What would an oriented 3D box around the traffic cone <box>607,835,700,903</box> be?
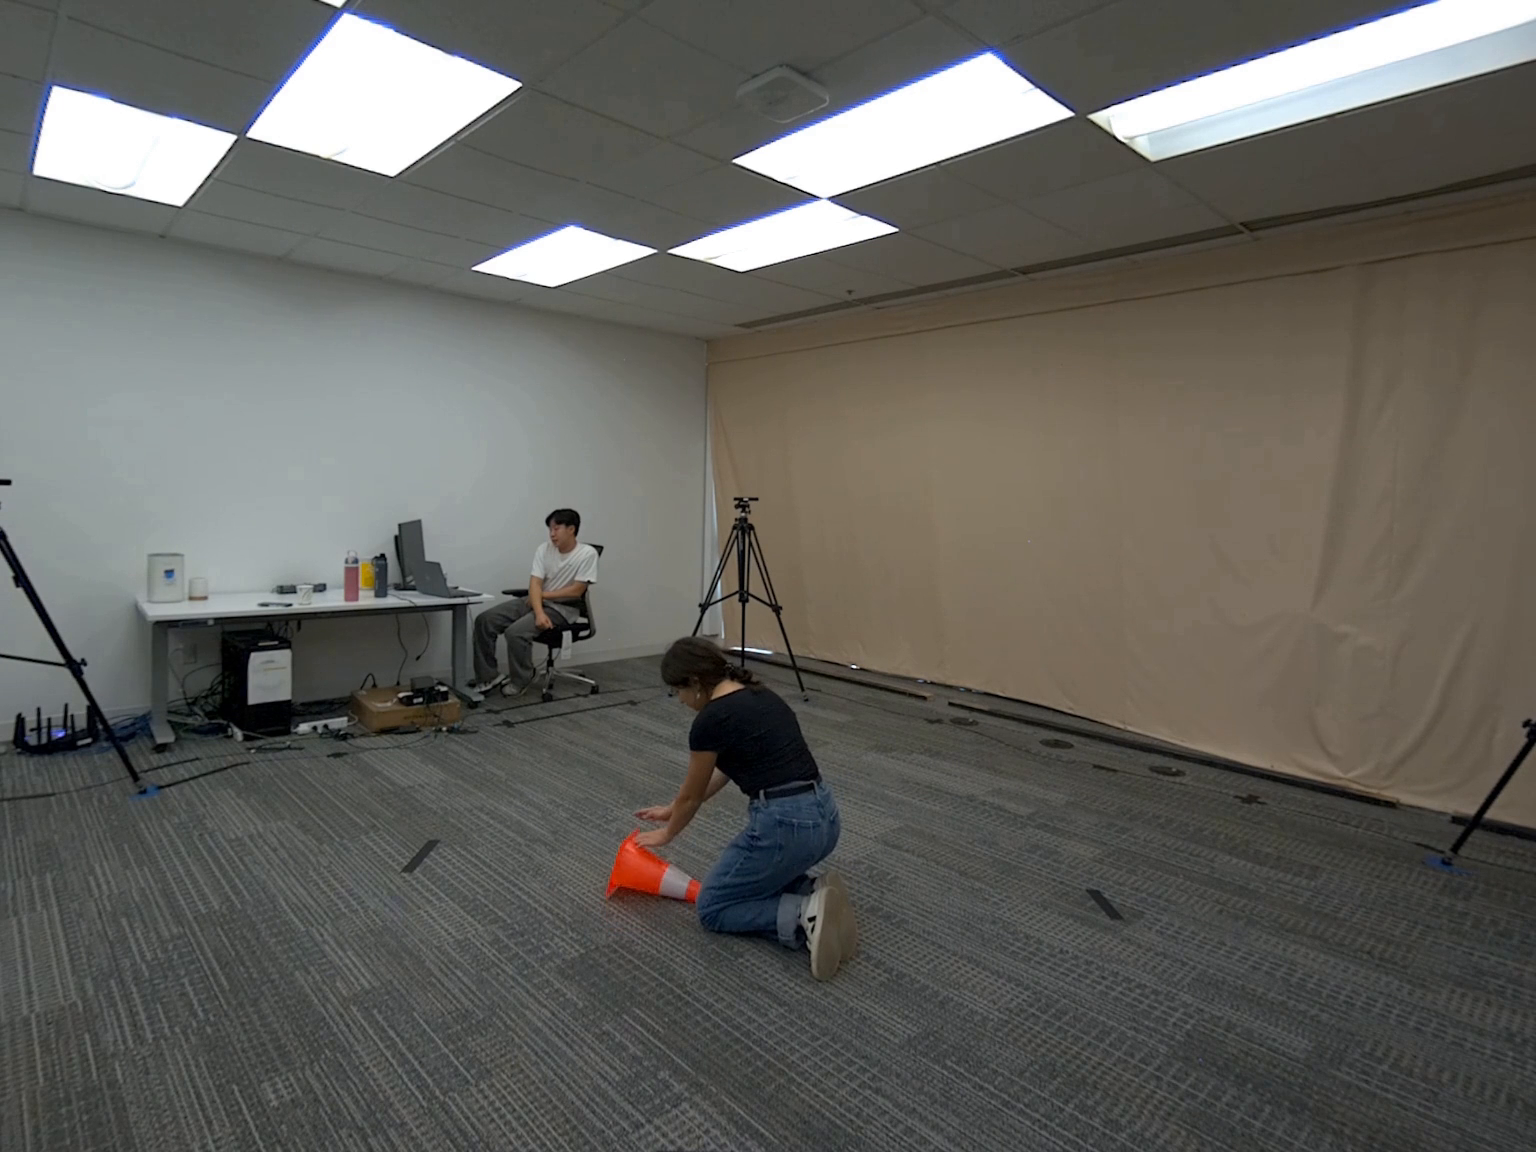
[{"bbox_3d":[-0.345,1.064,2.916,0.389,0.203,0.202,17,14,14],"label":"traffic cone"}]
